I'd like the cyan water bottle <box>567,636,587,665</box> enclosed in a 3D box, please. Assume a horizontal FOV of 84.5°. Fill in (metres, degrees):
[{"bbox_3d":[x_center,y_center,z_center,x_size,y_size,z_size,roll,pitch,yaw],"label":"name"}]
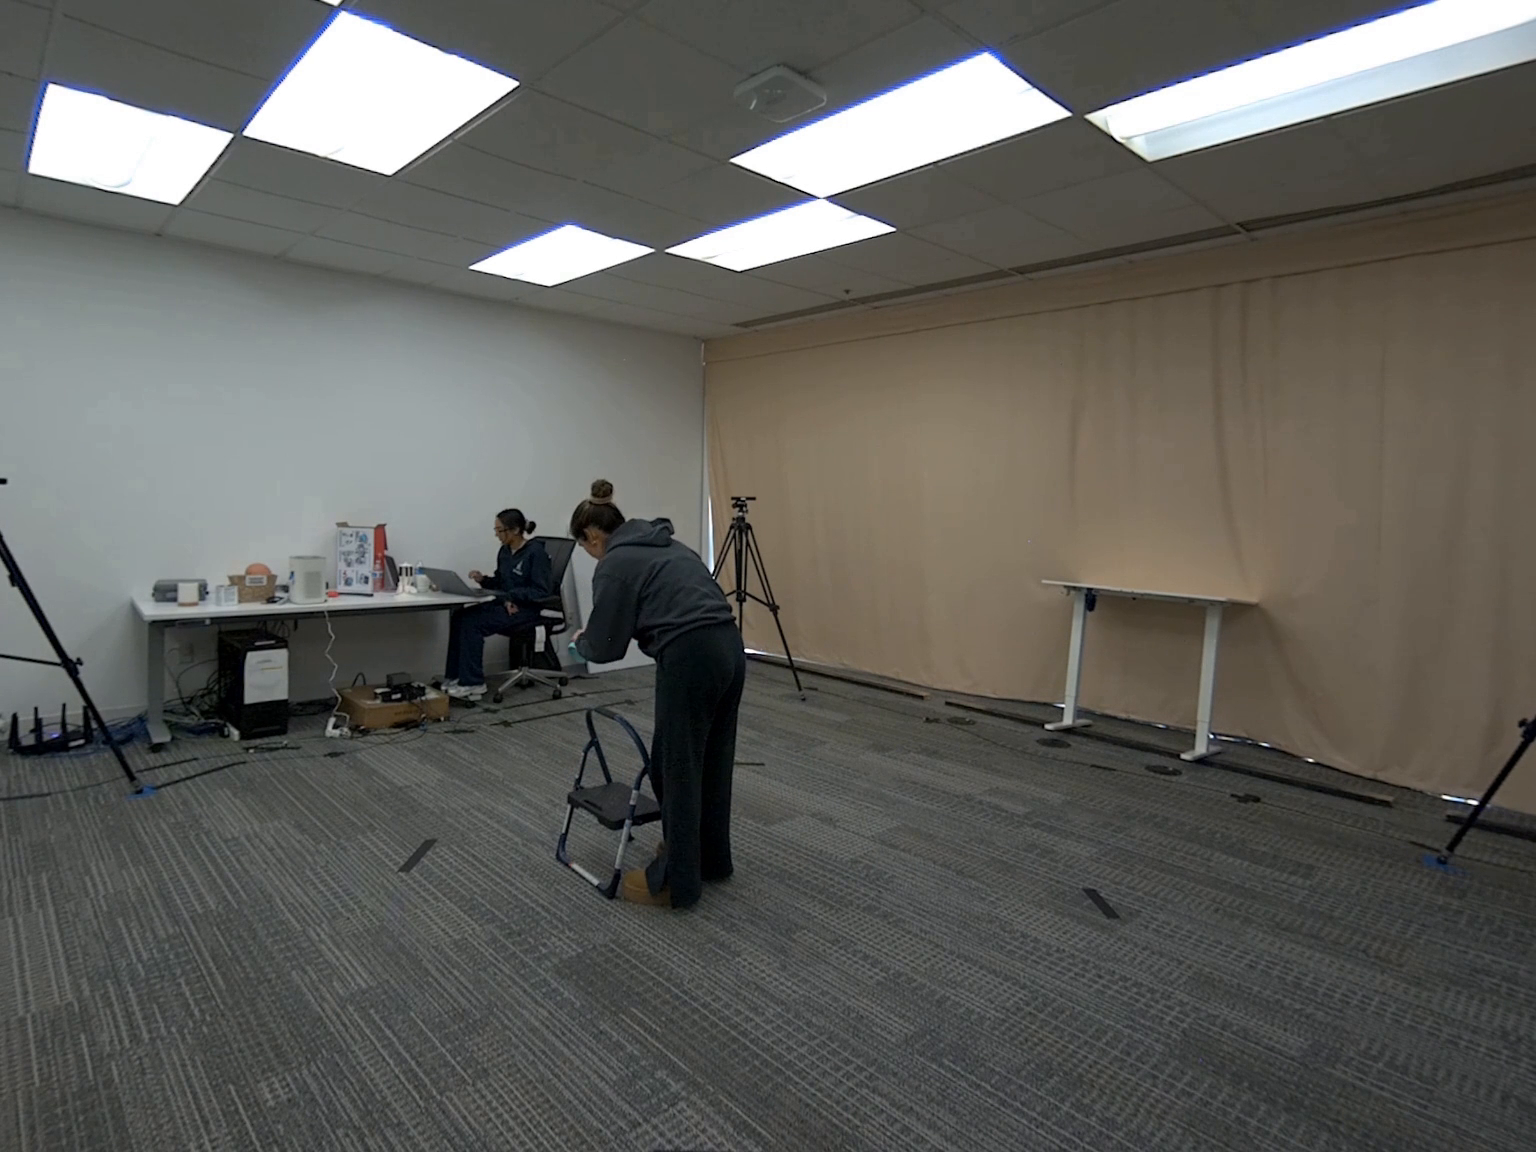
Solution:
[{"bbox_3d":[-0.628,0.222,3.193,0.094,0.090,0.284,5,43,38],"label":"cyan water bottle"}]
